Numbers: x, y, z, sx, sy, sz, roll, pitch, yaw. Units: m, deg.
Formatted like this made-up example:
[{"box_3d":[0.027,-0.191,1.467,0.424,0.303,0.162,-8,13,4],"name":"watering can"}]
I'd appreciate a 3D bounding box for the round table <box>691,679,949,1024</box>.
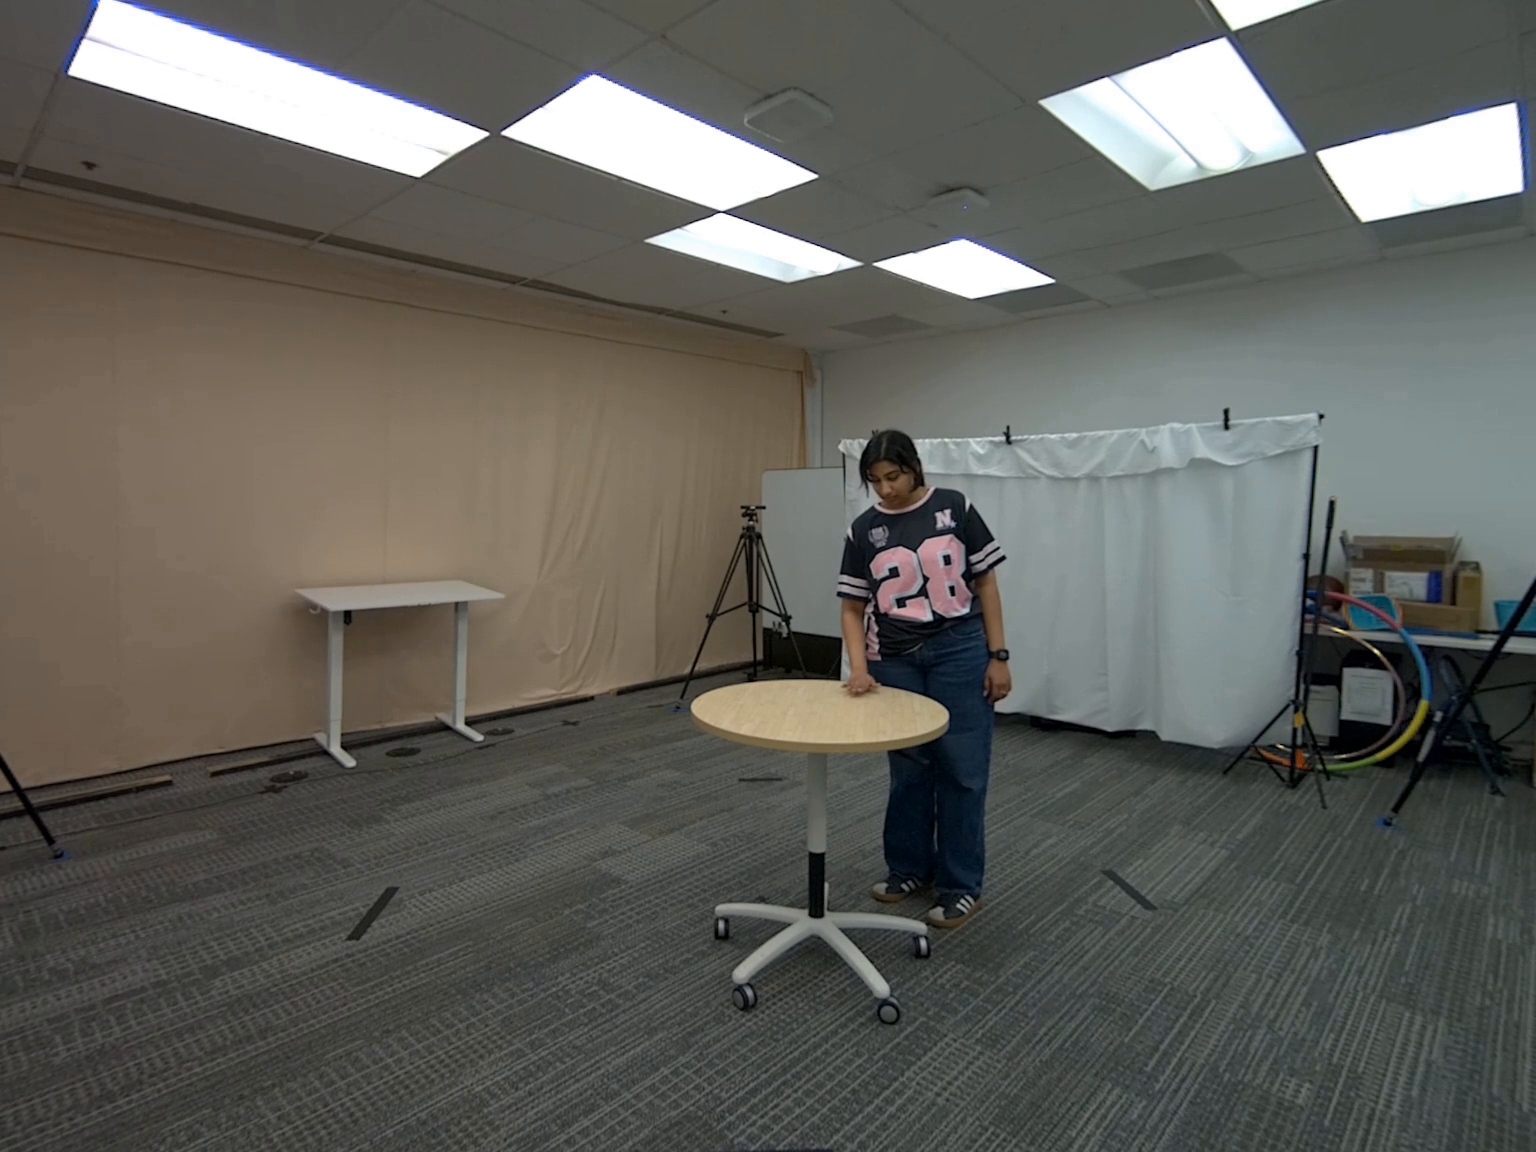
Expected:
[{"box_3d":[0.164,0.787,2.554,0.784,0.784,0.788,0,4,-2],"name":"round table"}]
